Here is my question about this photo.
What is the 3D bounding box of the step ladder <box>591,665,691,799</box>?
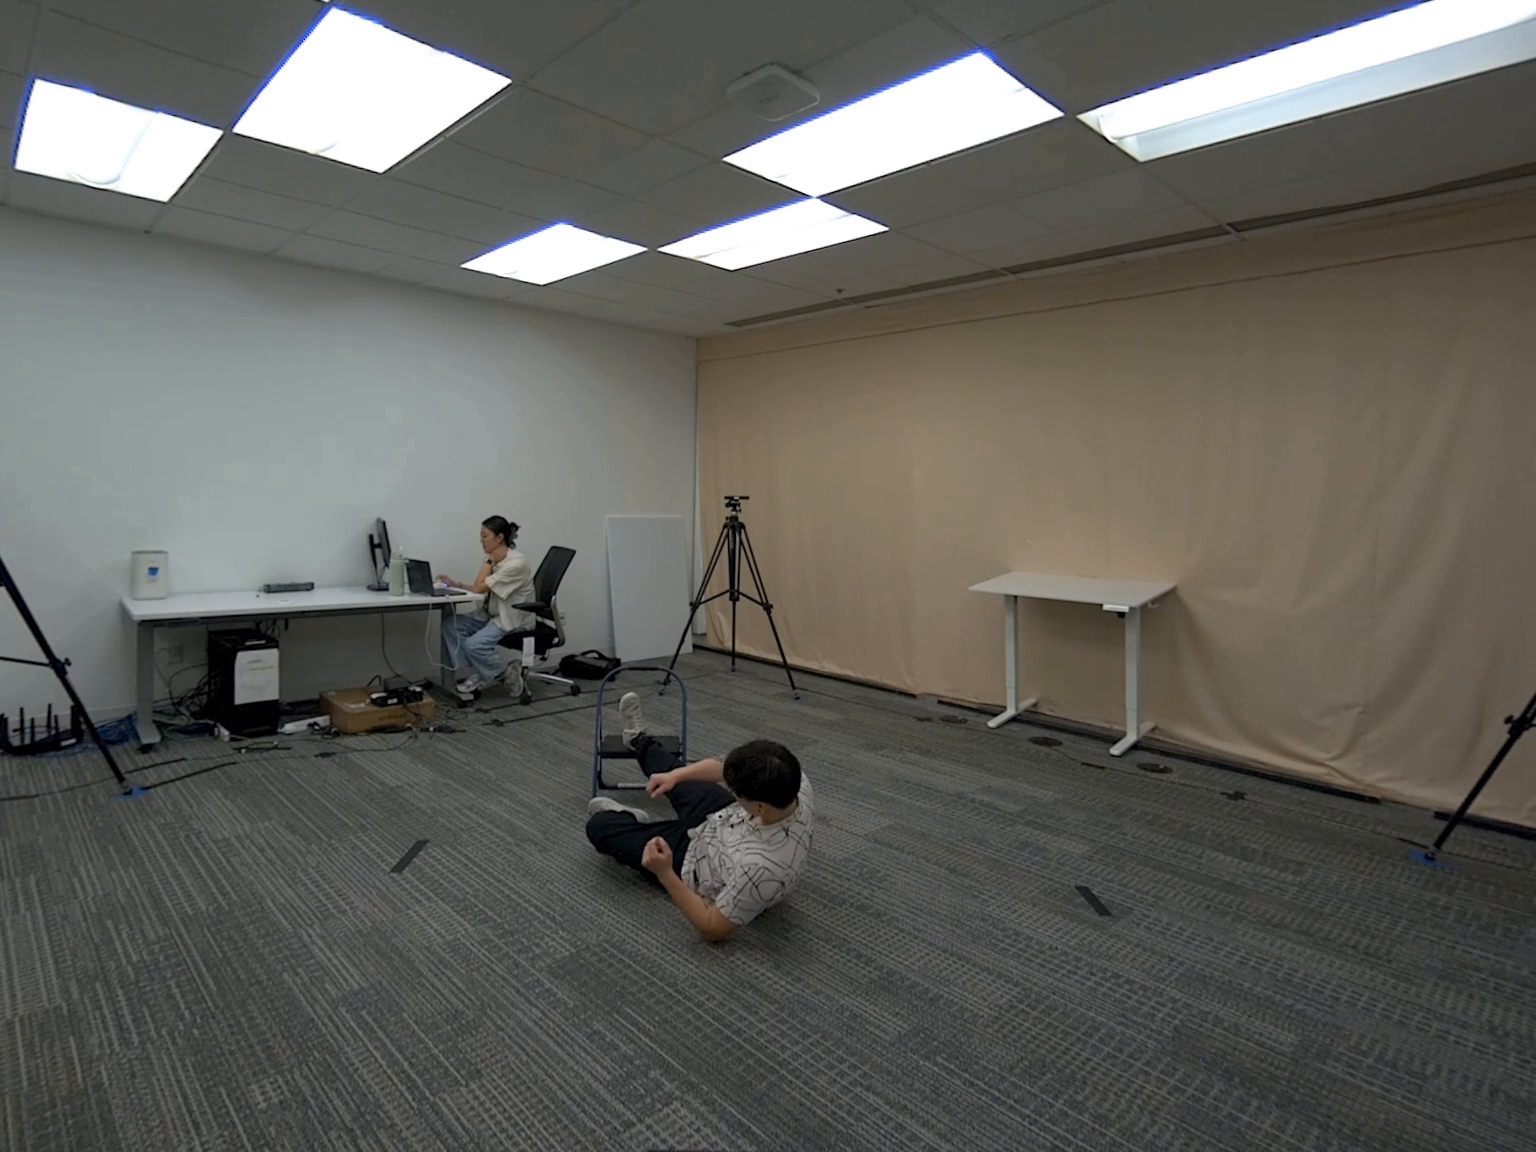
[{"bbox_3d":[-0.586,0.730,3.842,0.428,0.604,0.352,1,4,-6],"label":"step ladder"}]
